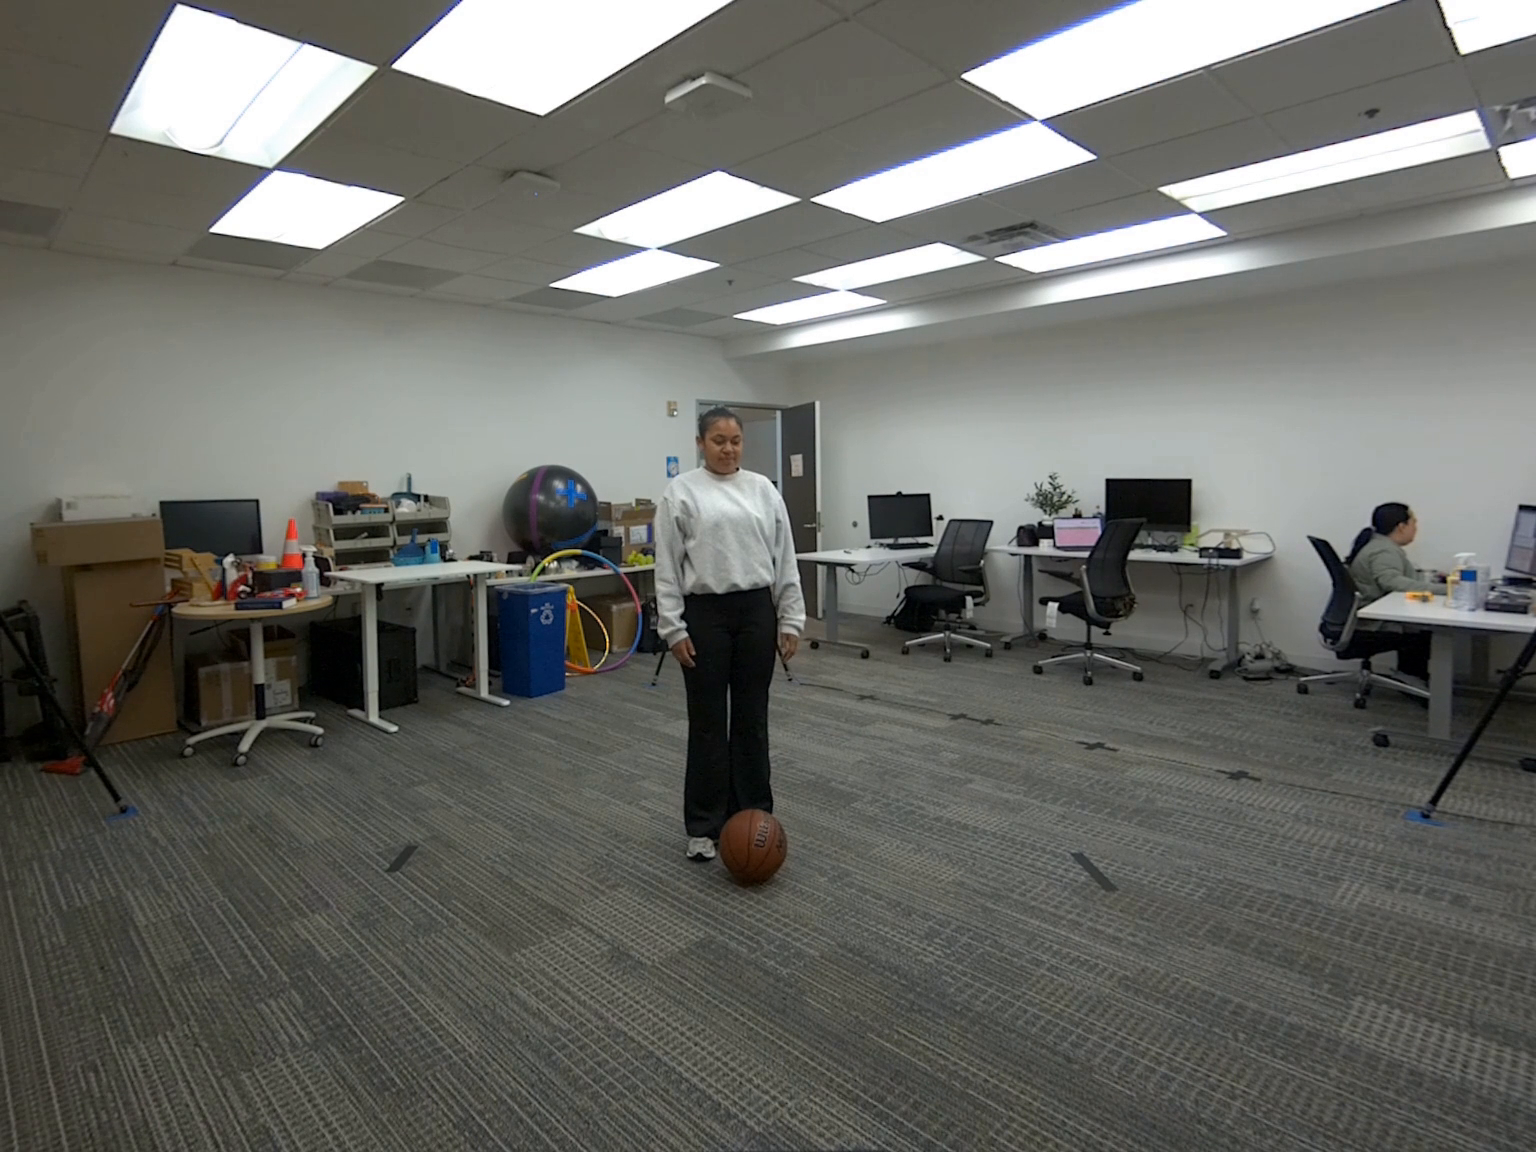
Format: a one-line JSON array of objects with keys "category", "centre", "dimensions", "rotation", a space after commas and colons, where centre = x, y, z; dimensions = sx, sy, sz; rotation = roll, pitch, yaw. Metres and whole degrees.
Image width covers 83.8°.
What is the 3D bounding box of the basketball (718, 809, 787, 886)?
[{"category": "basketball", "centre": [-0.052, 0.942, 2.983], "dimensions": [0.236, 0.235, 0.237], "rotation": [-1, 5, -2]}]
